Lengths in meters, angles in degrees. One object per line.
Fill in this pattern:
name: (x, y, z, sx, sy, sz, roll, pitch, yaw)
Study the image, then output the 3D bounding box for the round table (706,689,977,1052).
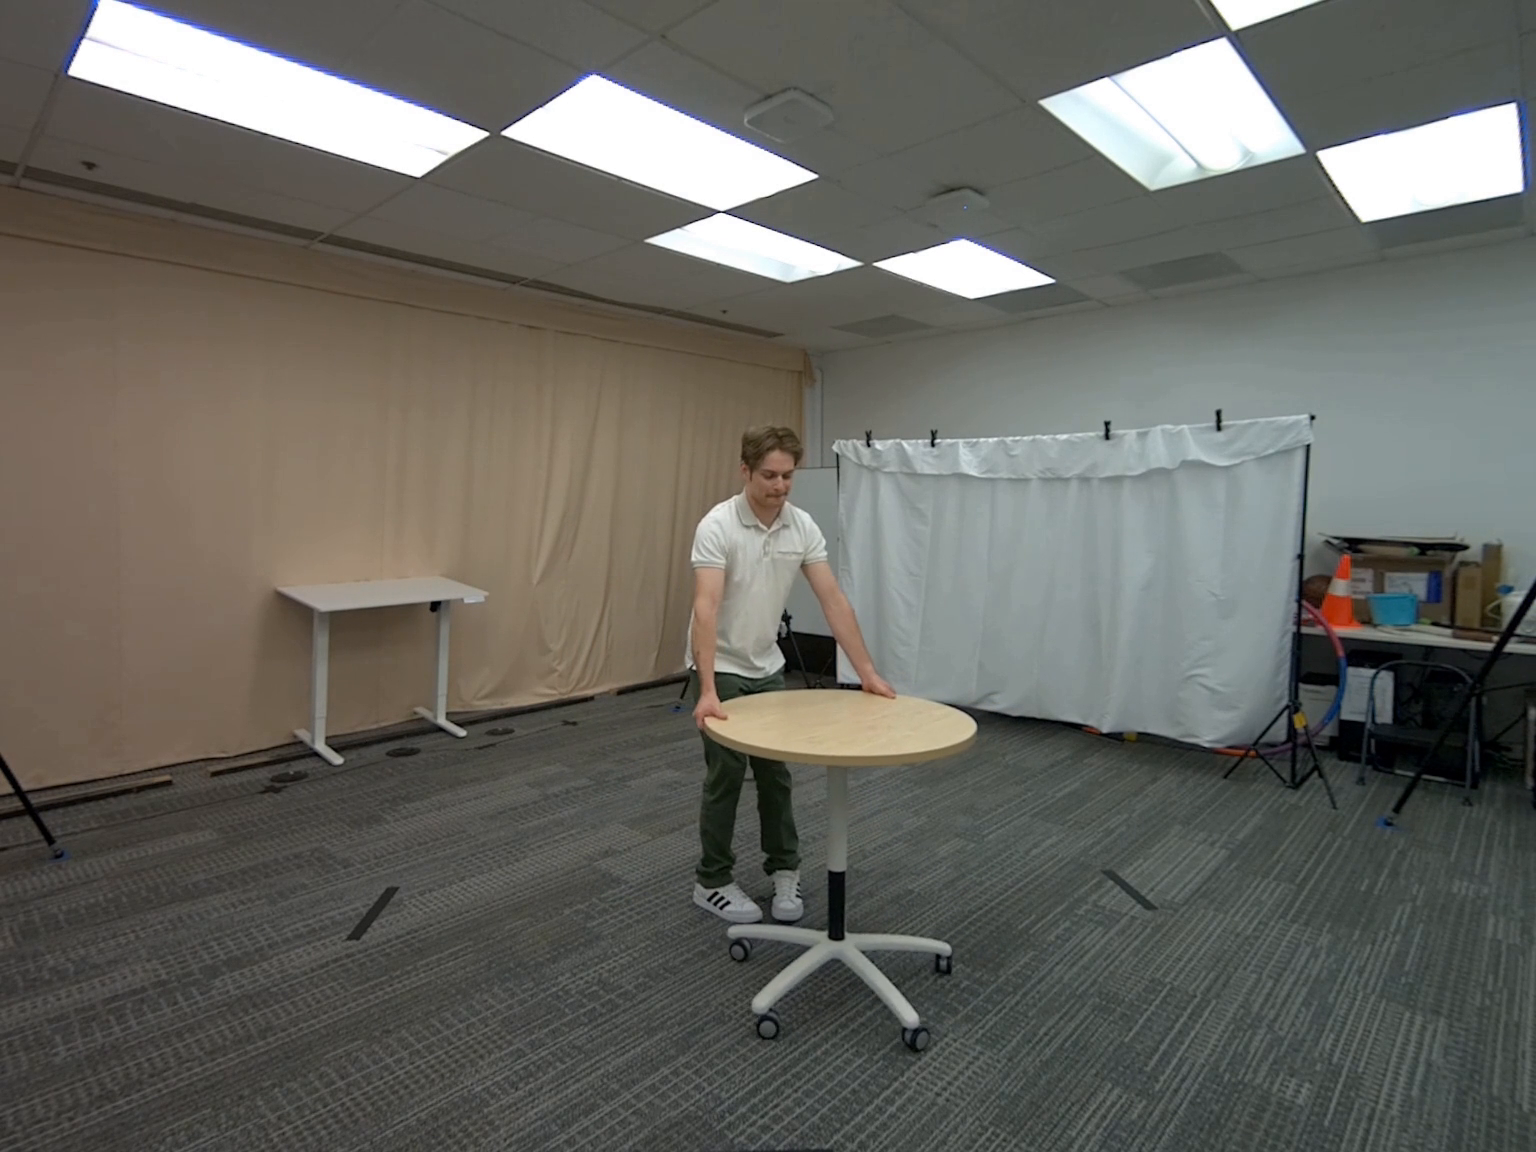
round table: (0.203, 0.801, 2.432, 0.763, 0.792, 0.766, 0, 4, -2)
